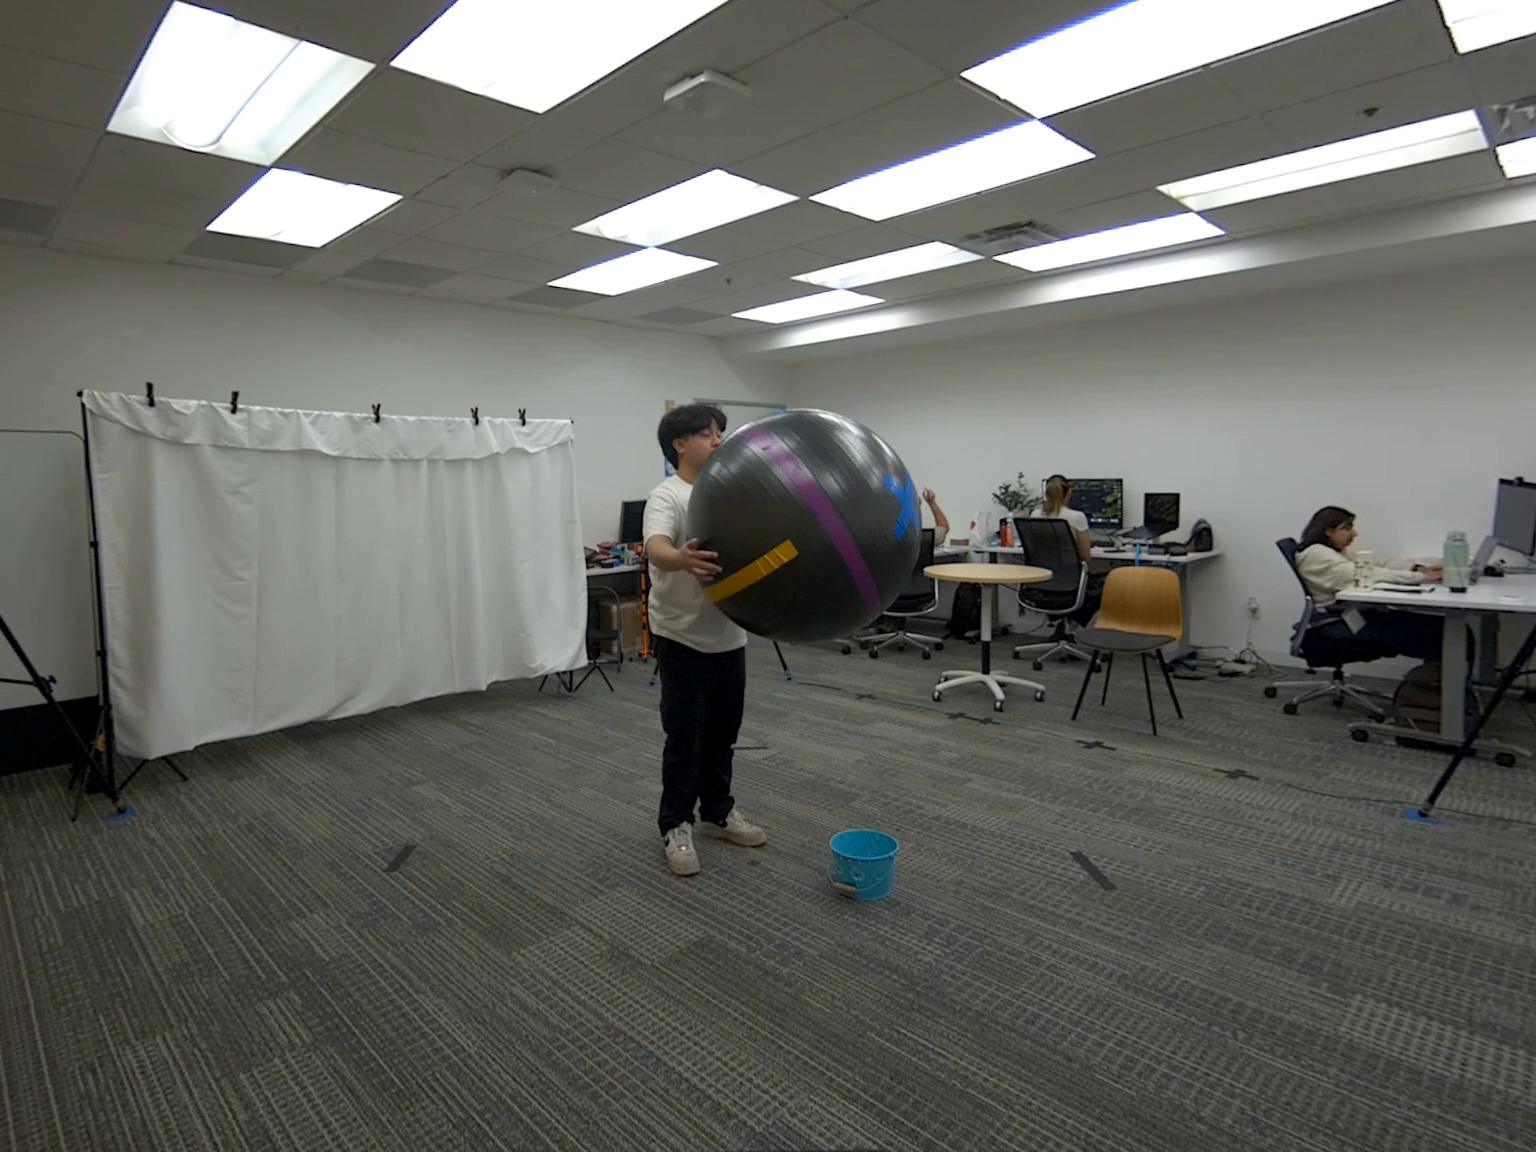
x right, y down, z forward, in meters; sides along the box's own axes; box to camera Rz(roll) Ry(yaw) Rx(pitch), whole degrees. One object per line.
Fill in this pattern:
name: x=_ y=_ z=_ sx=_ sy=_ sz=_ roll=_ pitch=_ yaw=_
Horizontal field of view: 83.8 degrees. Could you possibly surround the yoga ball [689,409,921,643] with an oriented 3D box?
yoga ball: x=0.123 y=-0.152 z=2.762 sx=0.757 sy=0.755 sz=0.762 roll=-1 pitch=5 yaw=-2
